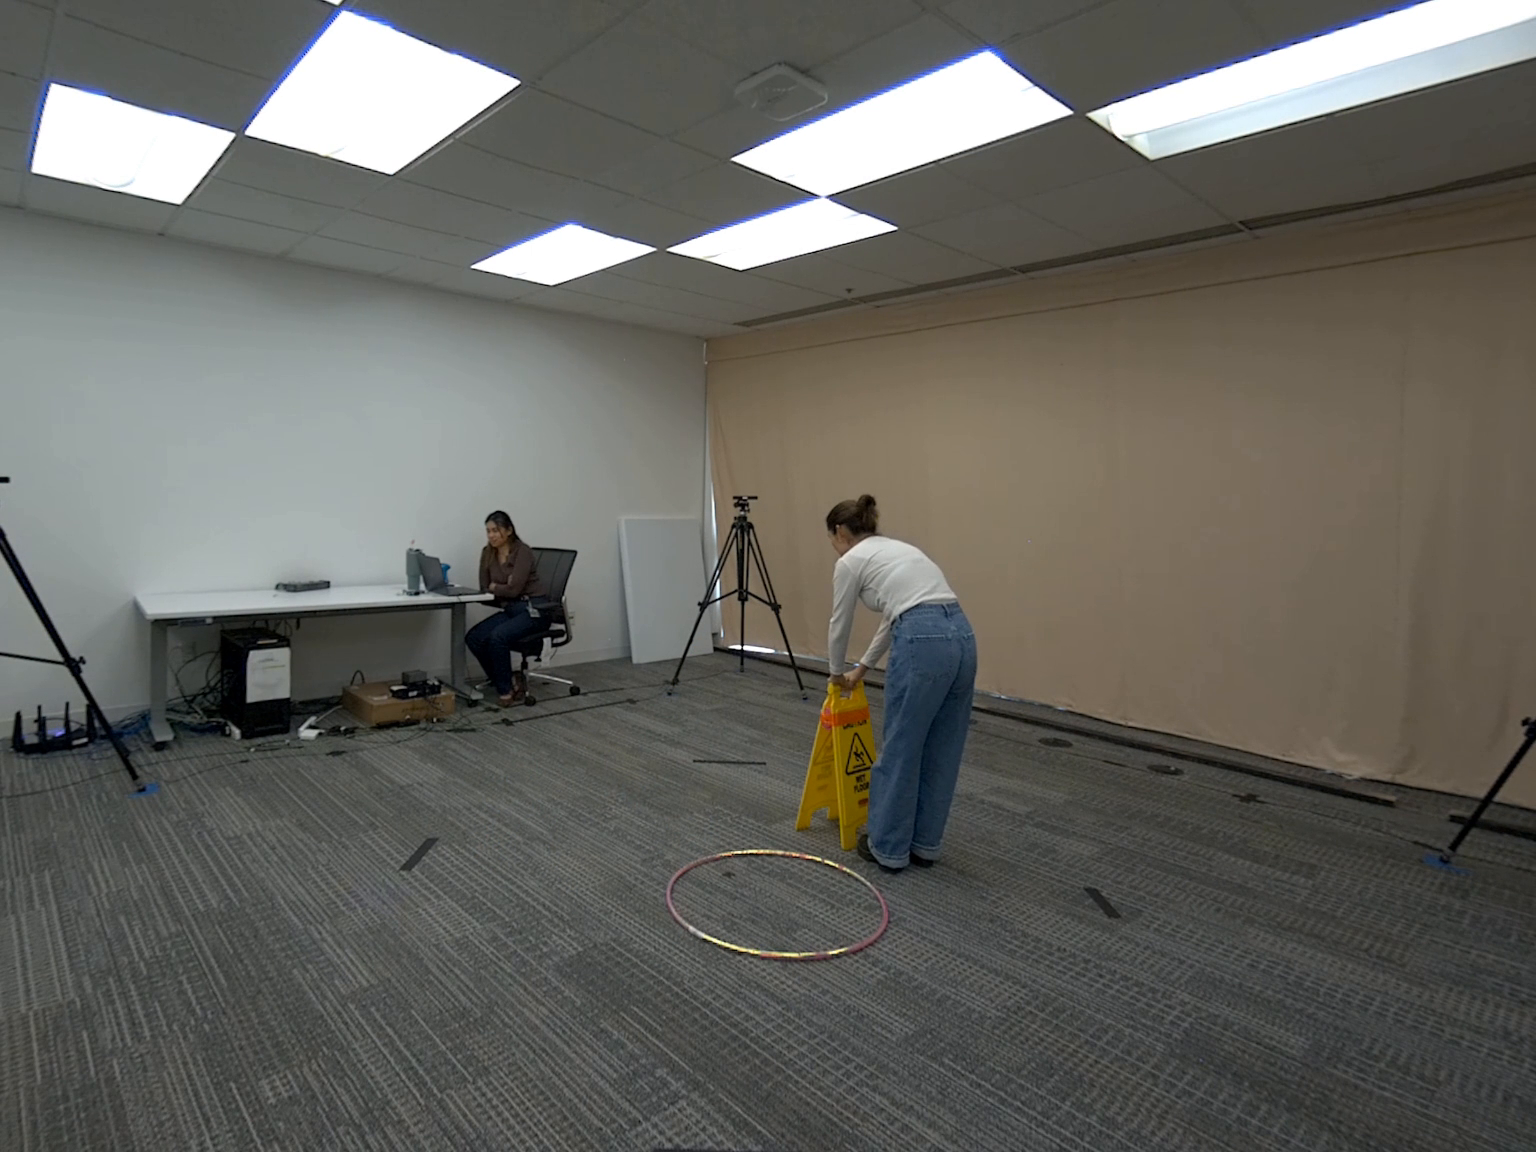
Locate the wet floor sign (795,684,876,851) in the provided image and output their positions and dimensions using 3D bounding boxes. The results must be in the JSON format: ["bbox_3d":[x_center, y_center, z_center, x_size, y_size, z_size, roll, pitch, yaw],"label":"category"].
[{"bbox_3d":[0.304,0.754,3.520,0.275,0.645,0.297,0,2,-43],"label":"wet floor sign"}]
